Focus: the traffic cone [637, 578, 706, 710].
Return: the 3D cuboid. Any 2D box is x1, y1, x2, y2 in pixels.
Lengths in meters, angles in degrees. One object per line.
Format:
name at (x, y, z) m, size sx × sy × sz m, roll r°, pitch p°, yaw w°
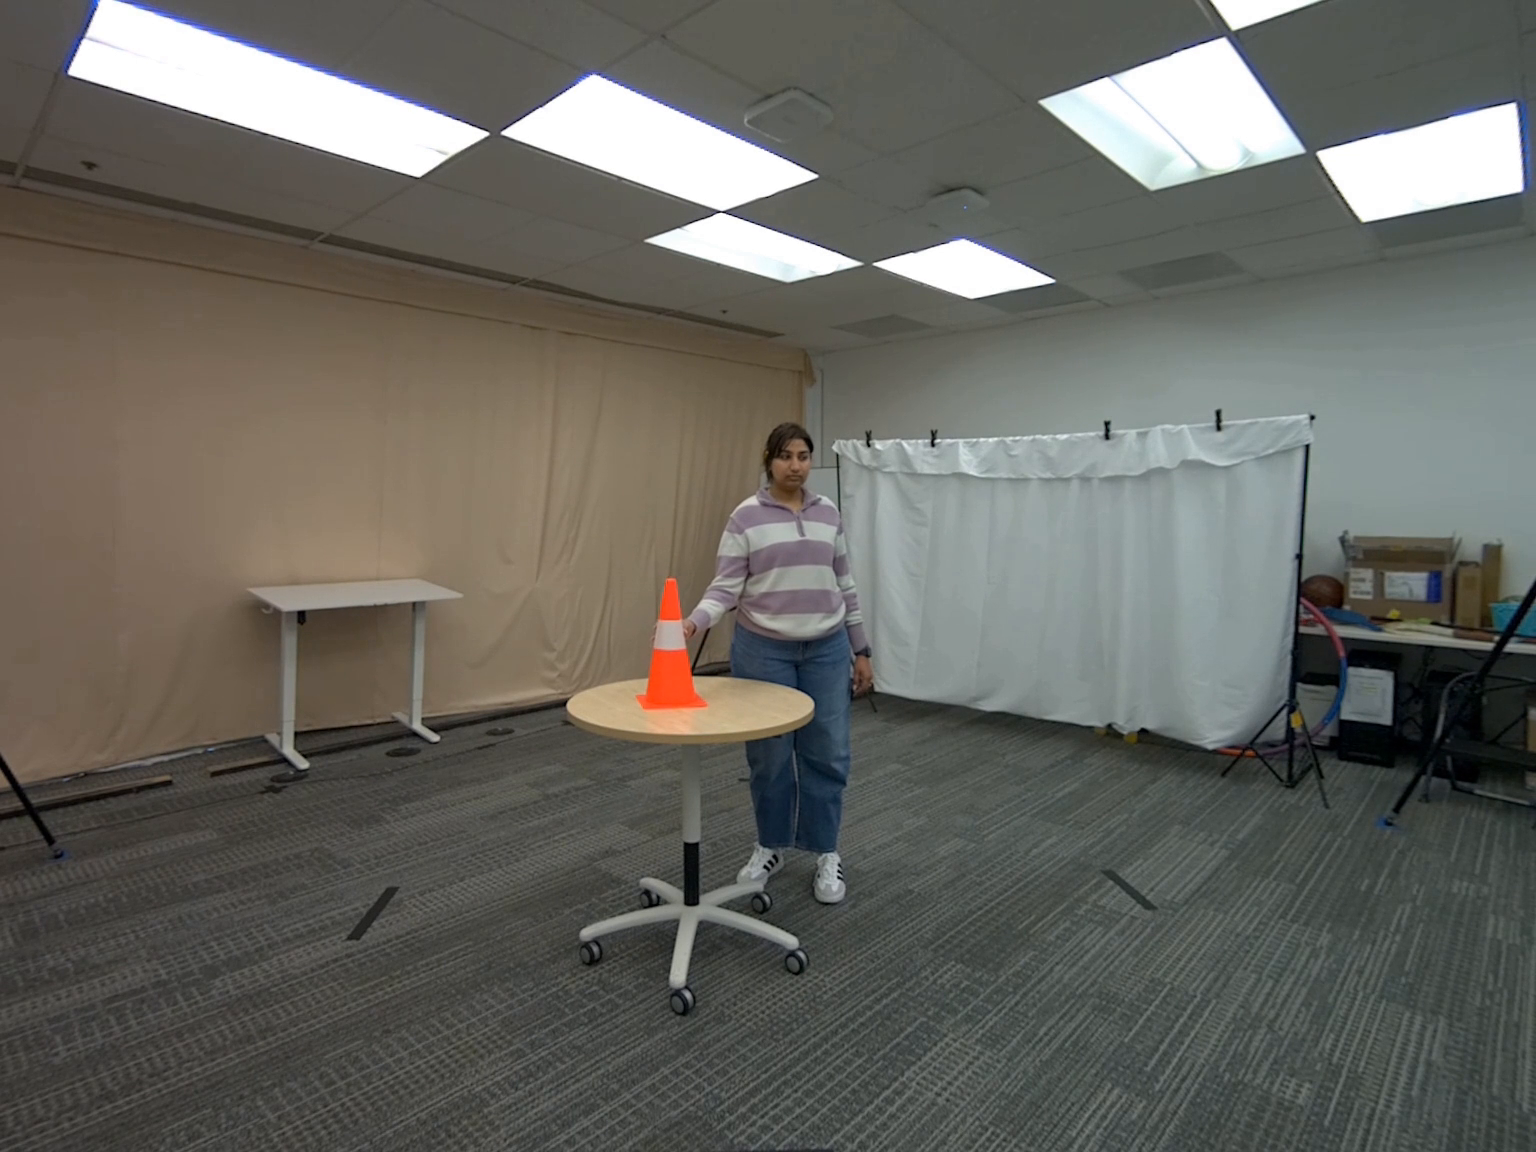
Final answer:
traffic cone at (-0.302, 0.201, 2.623) m, size 0.200 × 0.383 × 0.208 m, roll -1°, pitch 2°, yaw -16°
